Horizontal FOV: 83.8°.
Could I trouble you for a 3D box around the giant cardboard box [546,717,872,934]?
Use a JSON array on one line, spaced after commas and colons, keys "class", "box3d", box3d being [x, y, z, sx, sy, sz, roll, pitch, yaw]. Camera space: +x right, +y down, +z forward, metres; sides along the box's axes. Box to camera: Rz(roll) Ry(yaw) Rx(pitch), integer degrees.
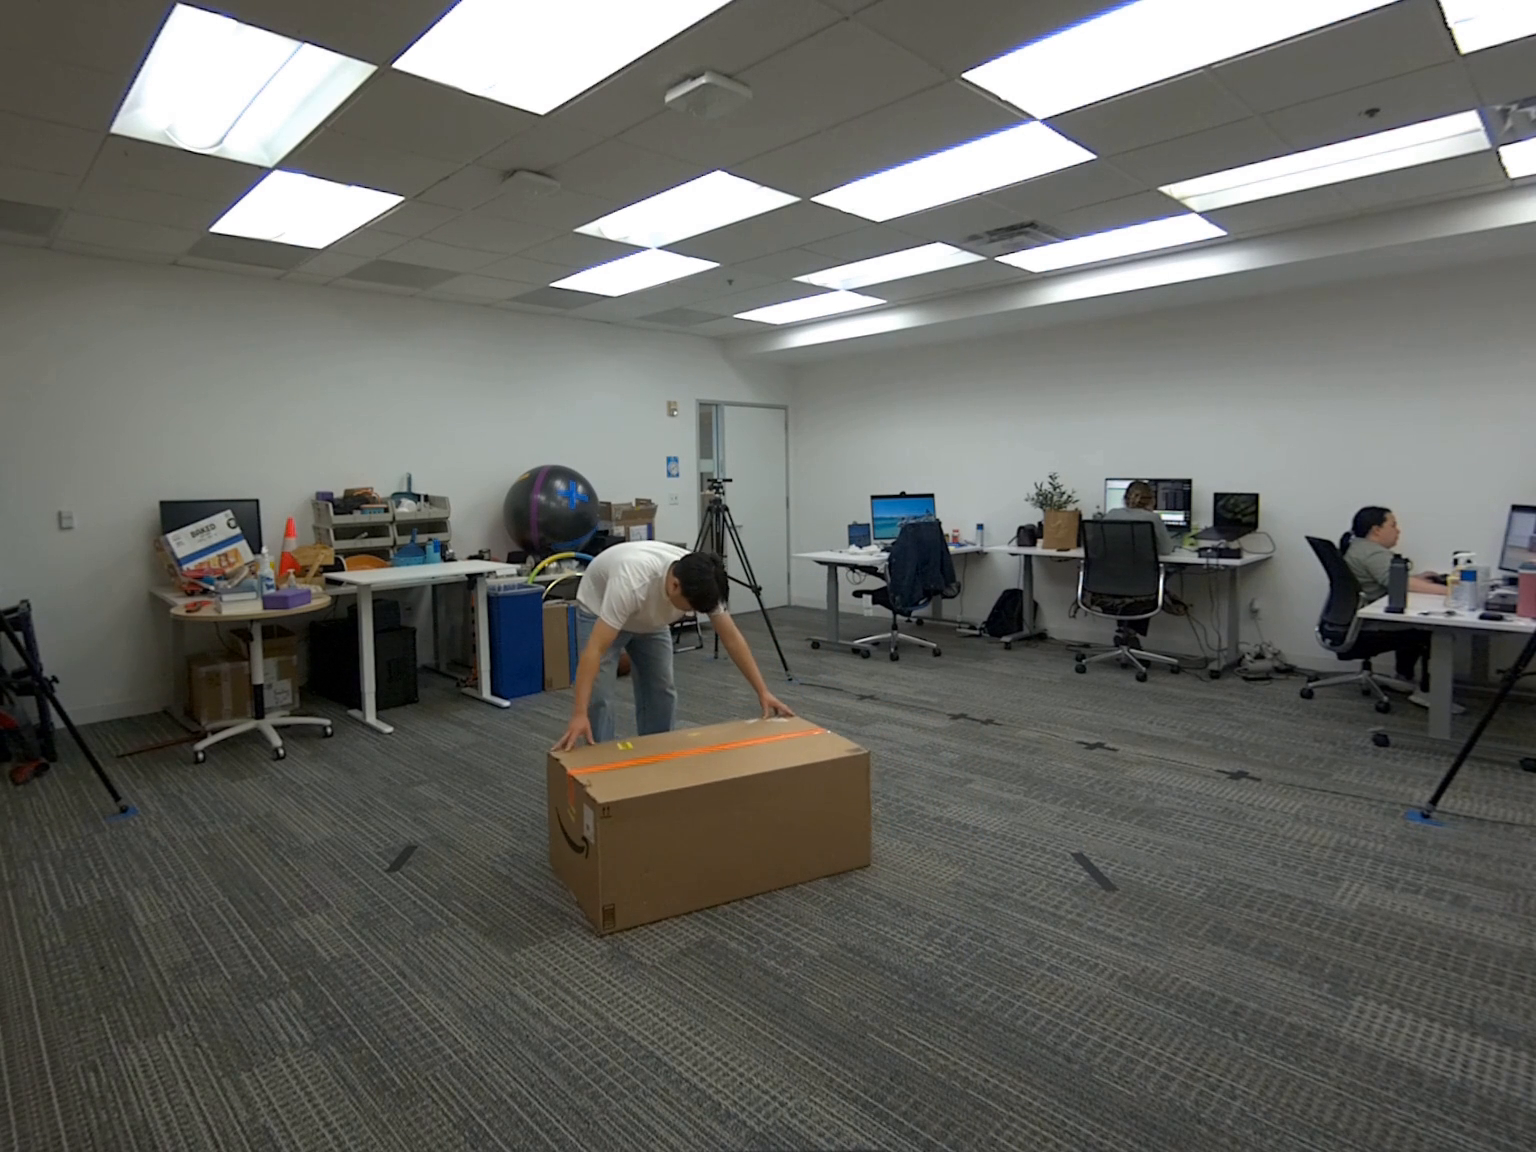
[{"class": "giant cardboard box", "box3d": [-0.205, 0.835, 3.090, 1.003, 0.424, 0.593, -4, 6, -28]}]
